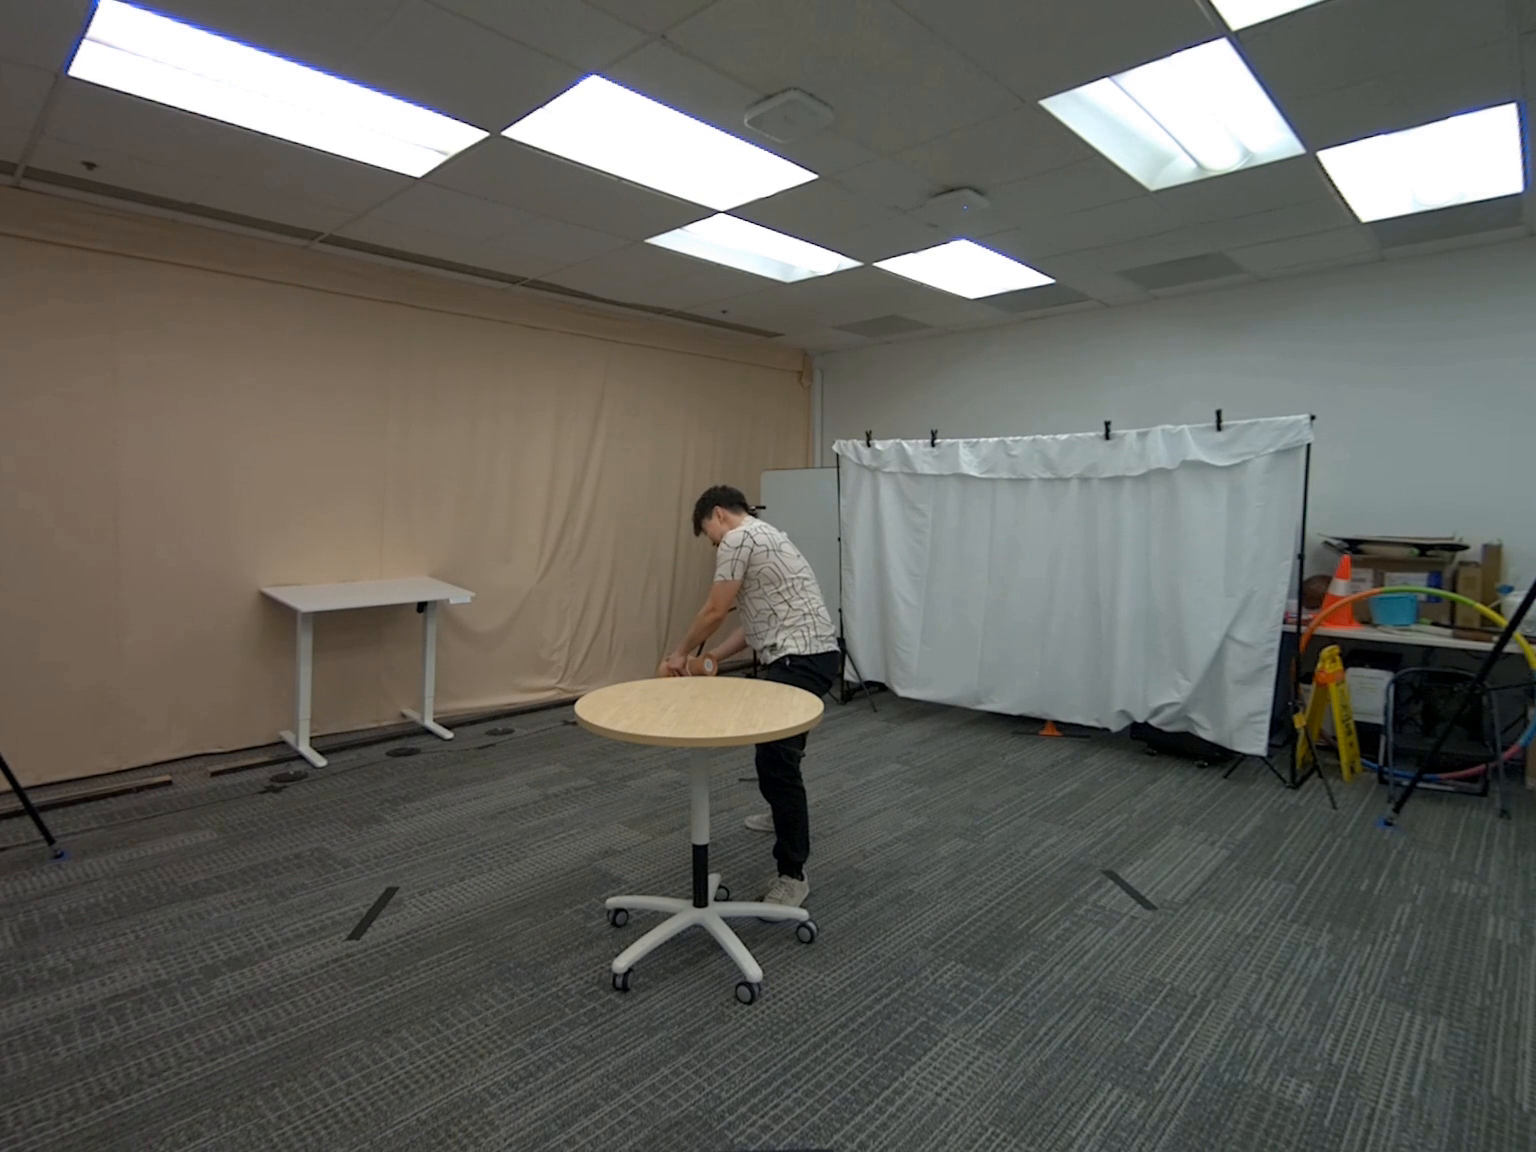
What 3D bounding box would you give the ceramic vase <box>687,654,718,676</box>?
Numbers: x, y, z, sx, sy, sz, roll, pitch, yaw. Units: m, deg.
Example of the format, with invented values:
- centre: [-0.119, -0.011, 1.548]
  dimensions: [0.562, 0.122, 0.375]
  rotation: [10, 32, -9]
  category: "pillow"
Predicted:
- centre: [-0.313, 0.377, 3.372]
  dimensions: [0.225, 0.160, 0.130]
  rotation: [-19, -13, 34]
  category: "ceramic vase"
